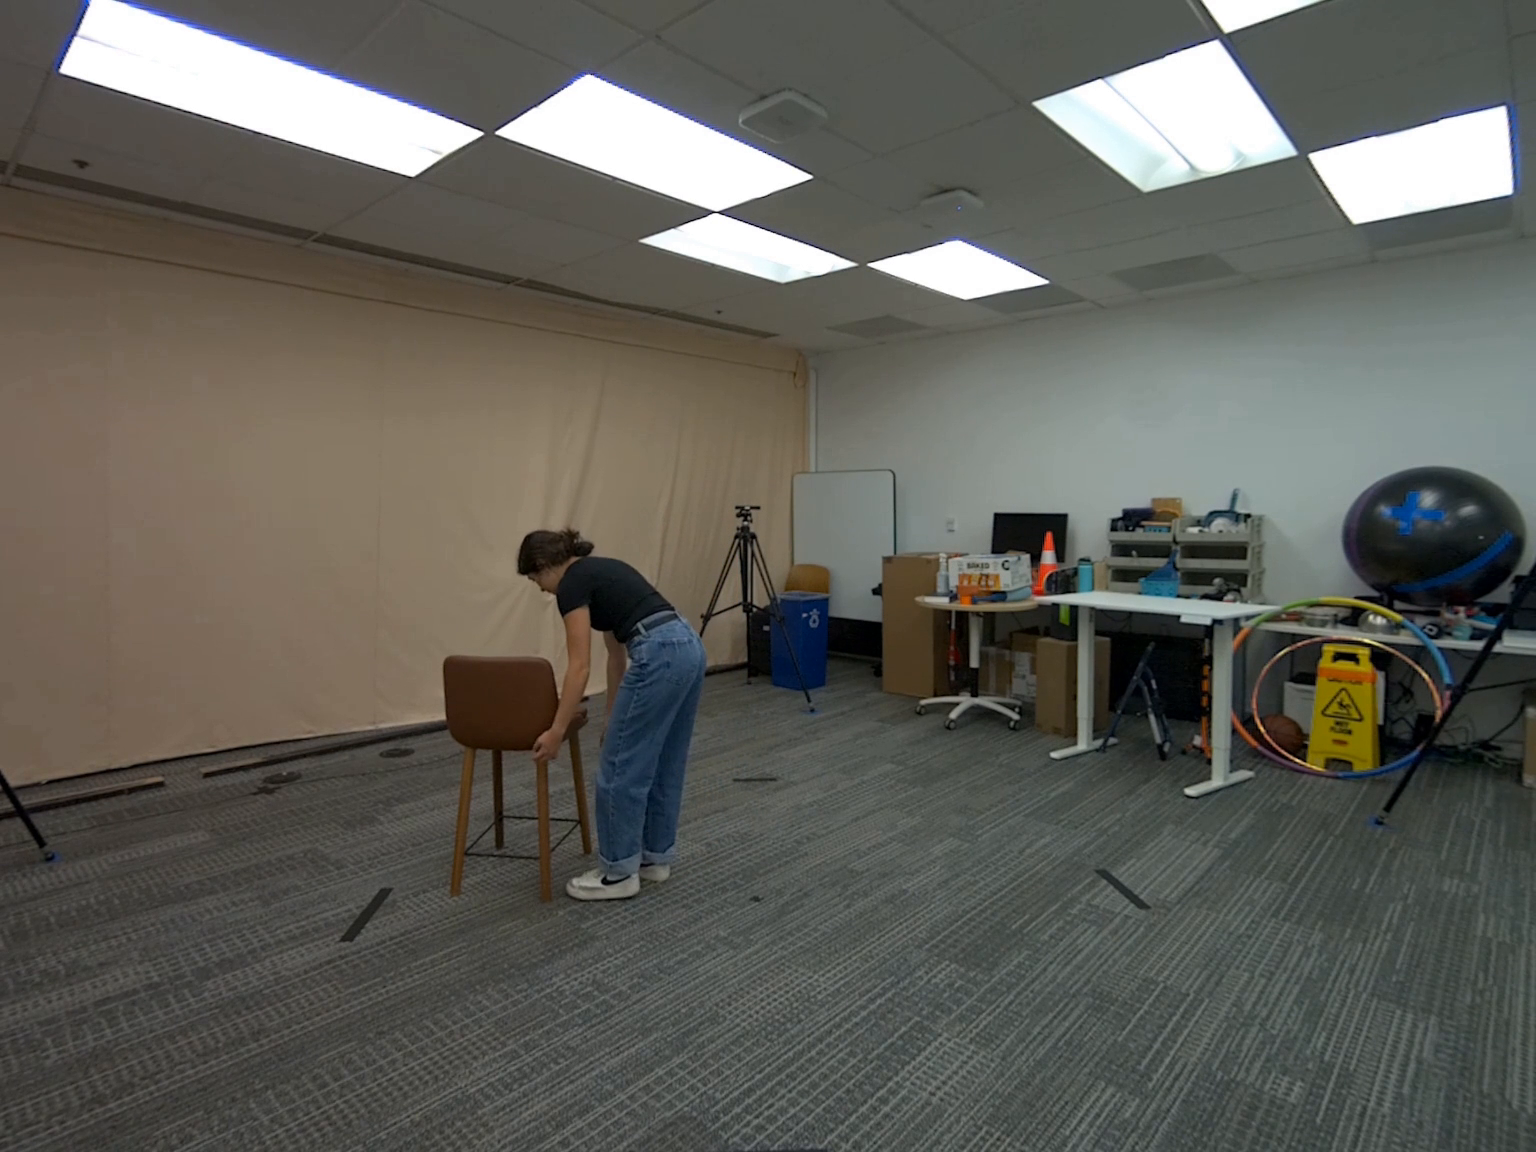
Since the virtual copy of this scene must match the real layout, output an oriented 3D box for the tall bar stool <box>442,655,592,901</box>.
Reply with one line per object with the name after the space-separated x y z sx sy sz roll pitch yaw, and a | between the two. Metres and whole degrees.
-0.944 0.701 3.195 0.461 0.887 0.464 0 4 8 | tall bar stool
